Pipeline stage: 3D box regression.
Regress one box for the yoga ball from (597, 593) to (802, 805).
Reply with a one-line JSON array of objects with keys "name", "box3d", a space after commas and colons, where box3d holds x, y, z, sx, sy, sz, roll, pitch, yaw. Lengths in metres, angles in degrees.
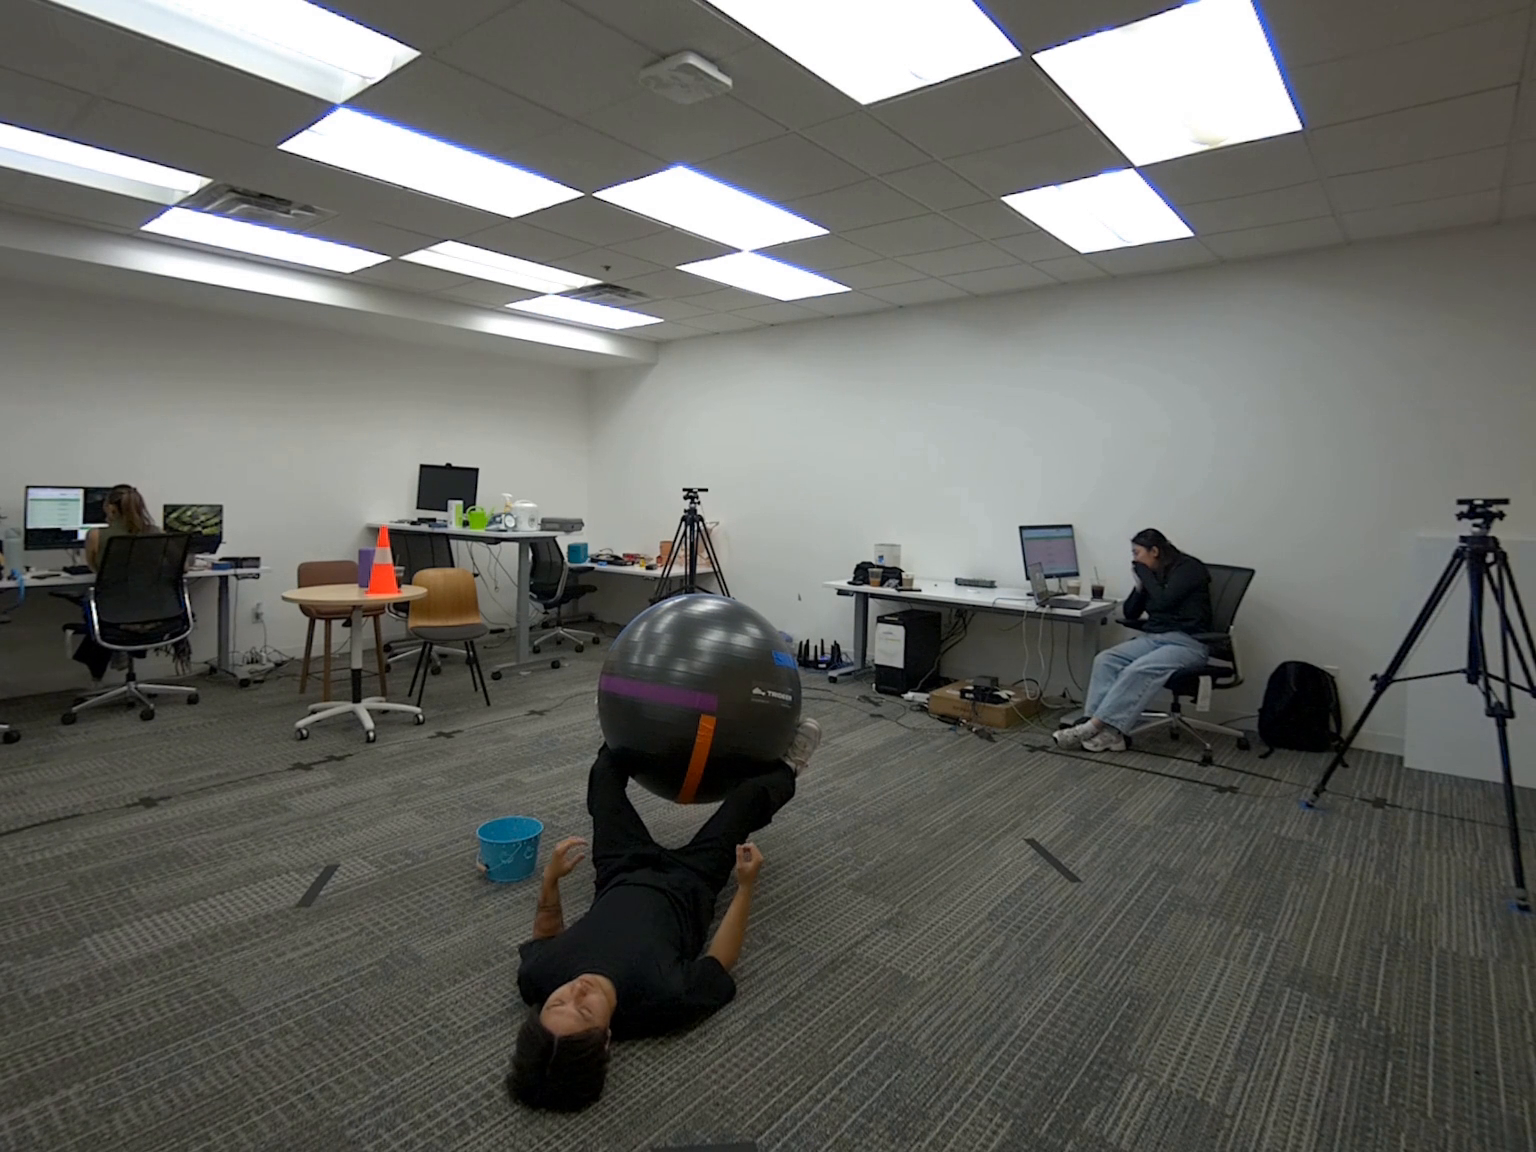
[{"name": "yoga ball", "box3d": [-0.265, 0.453, 3.162, 0.757, 0.755, 0.762, 1, 4, -2]}]
